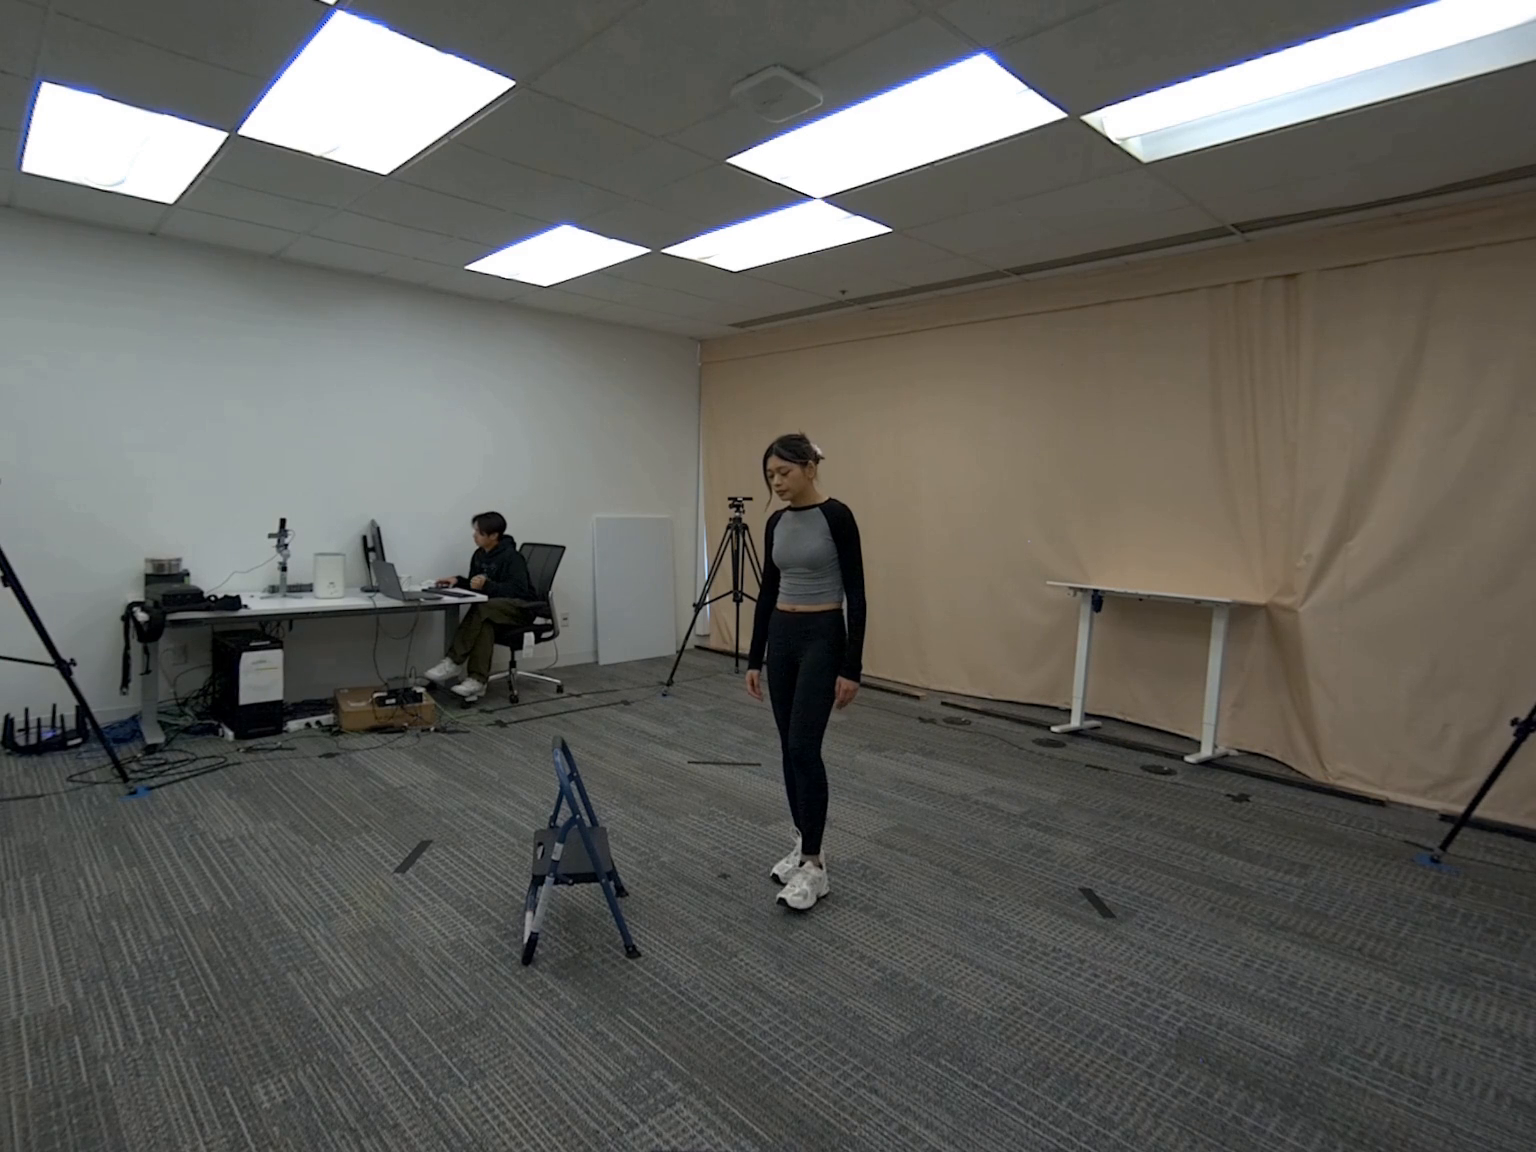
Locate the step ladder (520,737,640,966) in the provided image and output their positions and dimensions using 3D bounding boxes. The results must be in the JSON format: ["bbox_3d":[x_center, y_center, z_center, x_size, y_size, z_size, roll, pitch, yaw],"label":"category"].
[{"bbox_3d":[-0.610,0.834,2.692,0.345,0.604,0.436,0,4,-14],"label":"step ladder"}]
